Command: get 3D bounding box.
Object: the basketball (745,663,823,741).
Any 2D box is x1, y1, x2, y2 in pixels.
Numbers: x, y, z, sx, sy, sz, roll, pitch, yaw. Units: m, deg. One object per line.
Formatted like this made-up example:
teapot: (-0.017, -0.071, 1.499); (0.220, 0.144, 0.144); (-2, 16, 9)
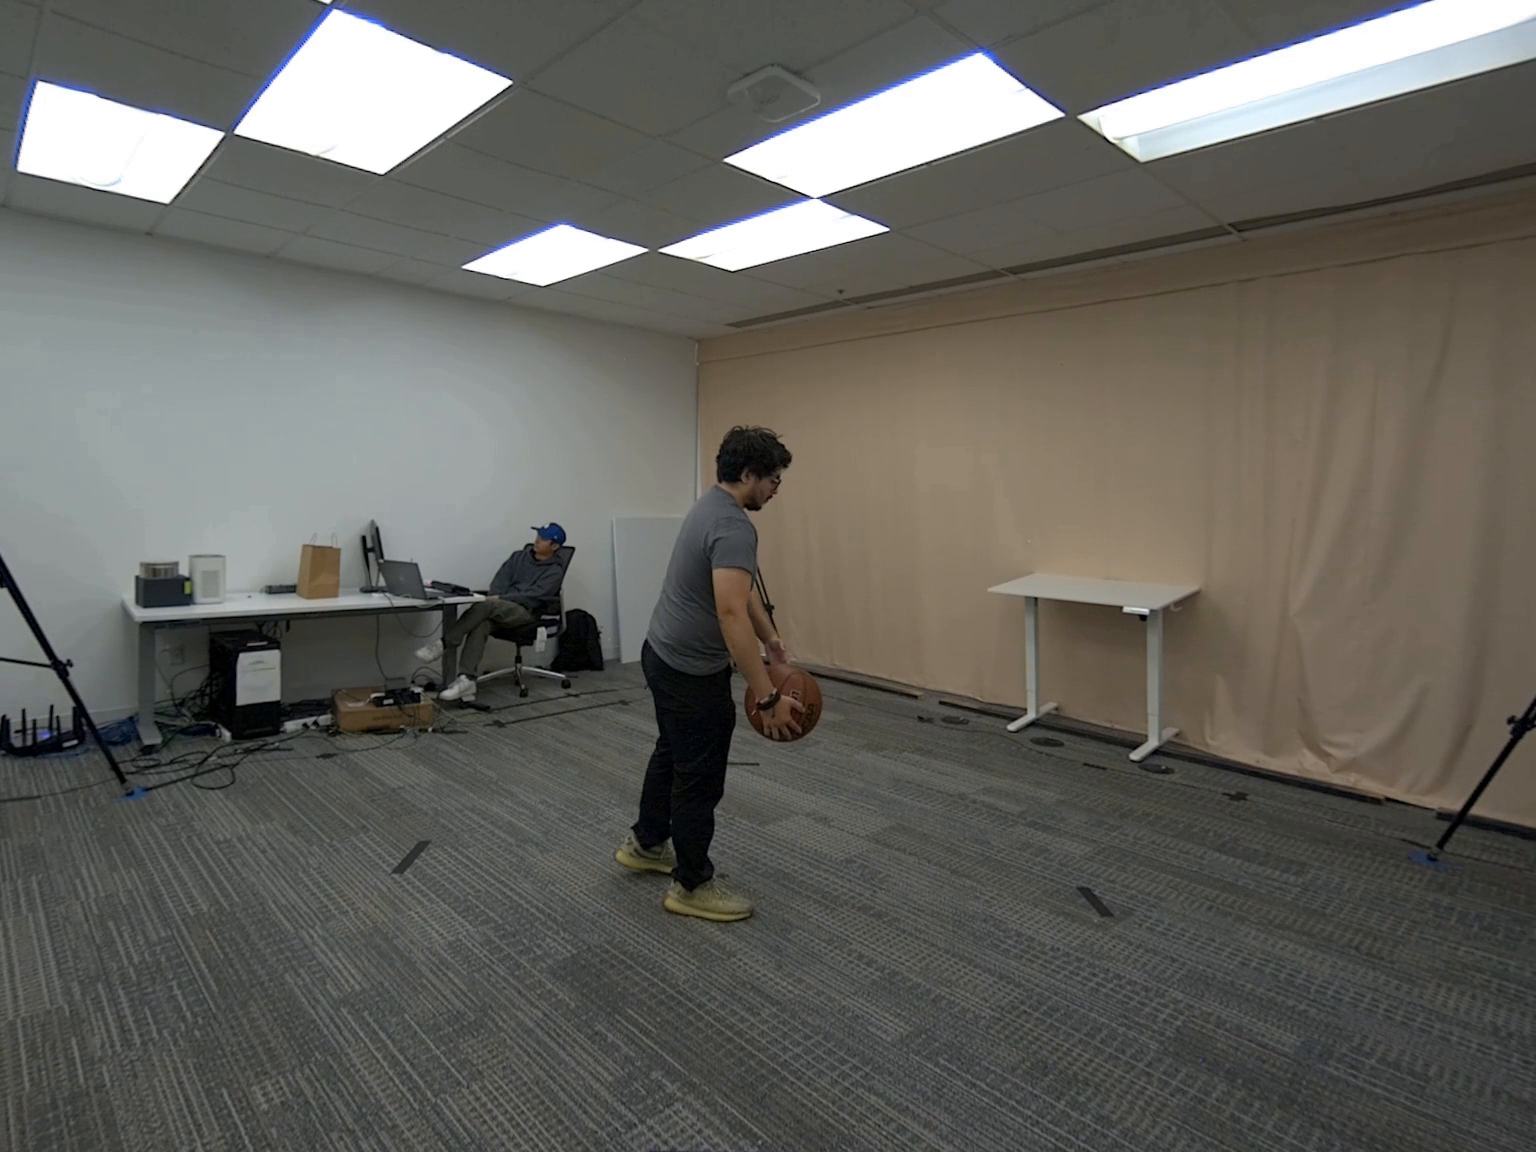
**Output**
basketball: (0.044, 0.386, 2.588); (0.236, 0.235, 0.237); (1, 4, -1)
